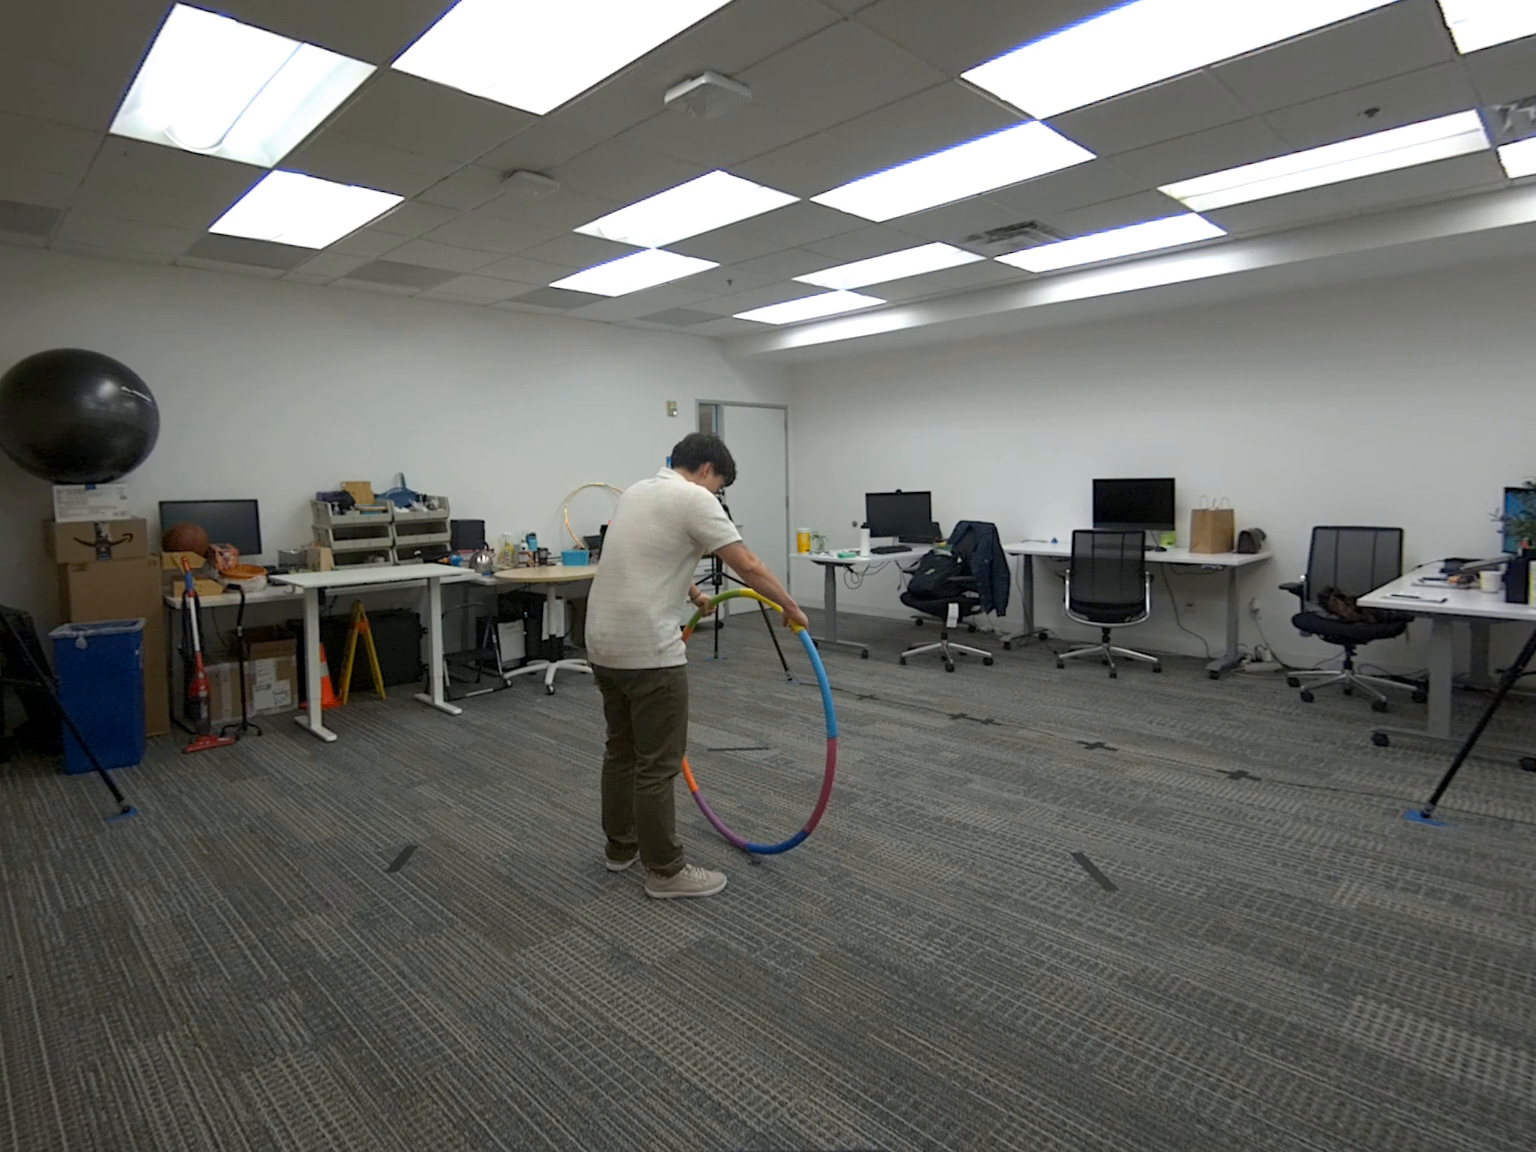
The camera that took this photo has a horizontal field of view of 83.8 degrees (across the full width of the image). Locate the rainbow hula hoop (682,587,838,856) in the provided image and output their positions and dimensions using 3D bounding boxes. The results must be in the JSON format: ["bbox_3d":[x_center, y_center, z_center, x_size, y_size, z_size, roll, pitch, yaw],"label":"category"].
[{"bbox_3d":[-0.091,0.542,3.218,0.034,0.977,1.008,0,3,-38],"label":"rainbow hula hoop"}]
